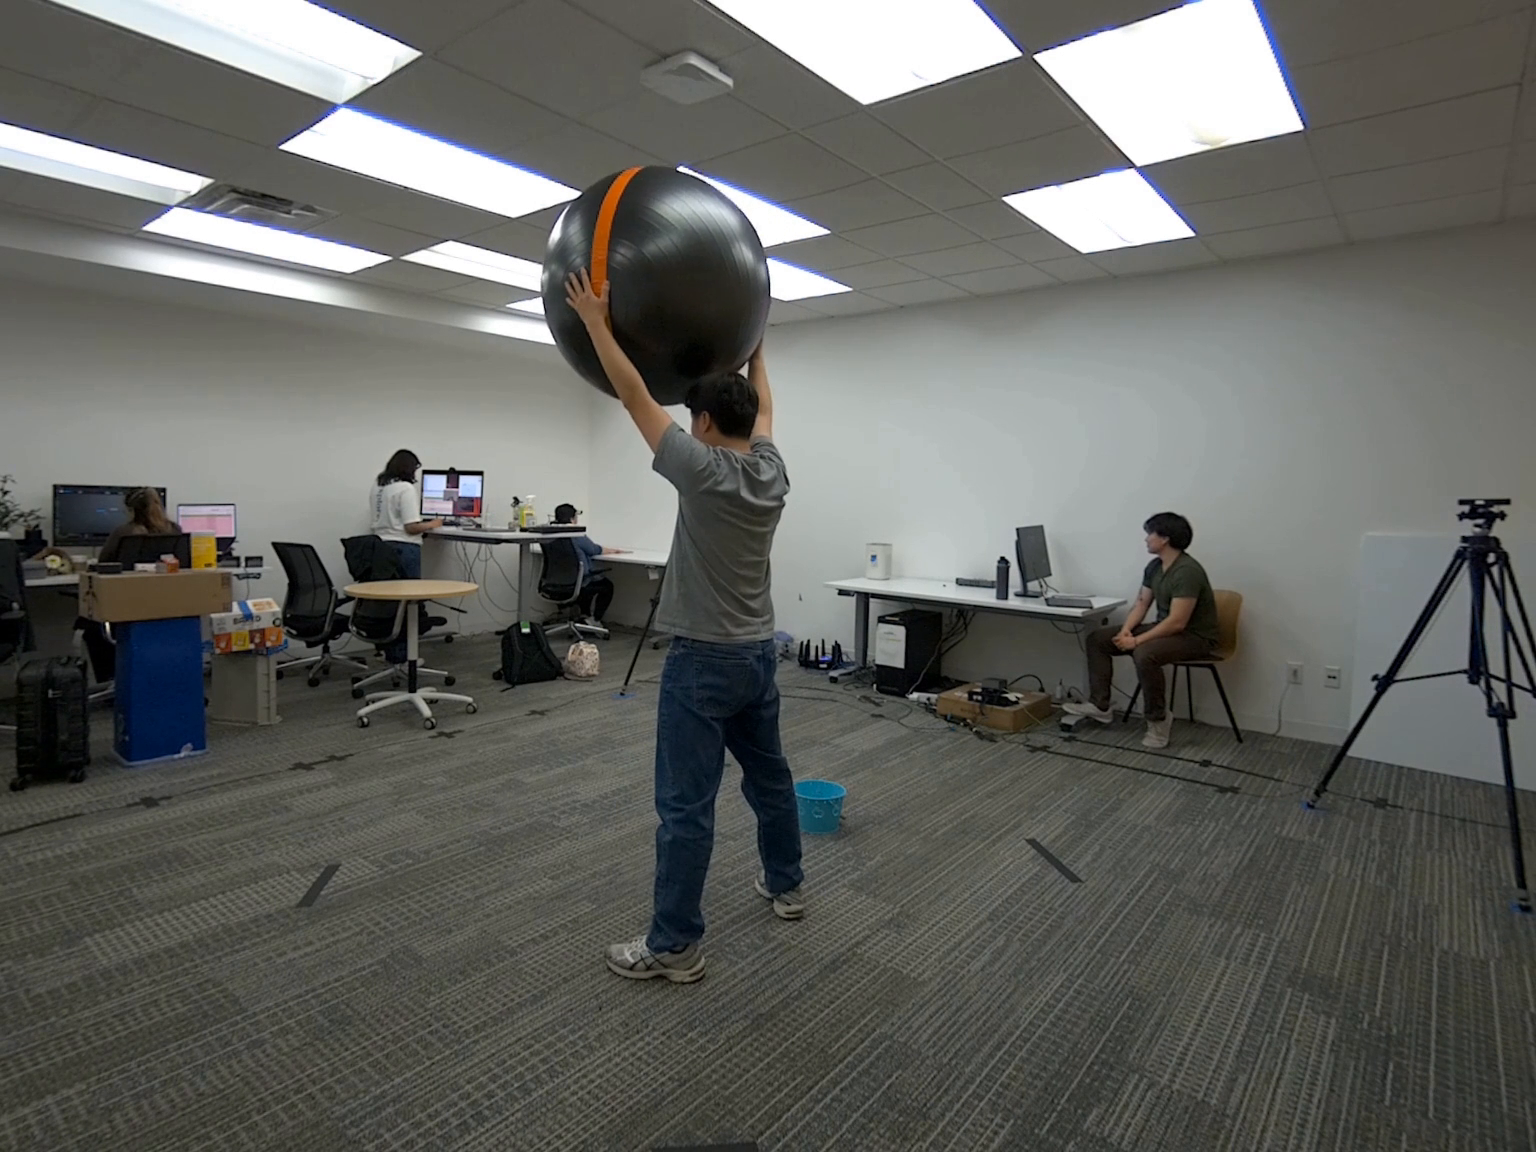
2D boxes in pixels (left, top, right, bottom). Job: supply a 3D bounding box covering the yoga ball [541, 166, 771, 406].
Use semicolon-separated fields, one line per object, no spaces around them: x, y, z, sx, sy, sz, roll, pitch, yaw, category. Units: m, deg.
-0.395;-0.930;2.830;0.757;0.755;0.762;1;4;-2;yoga ball
